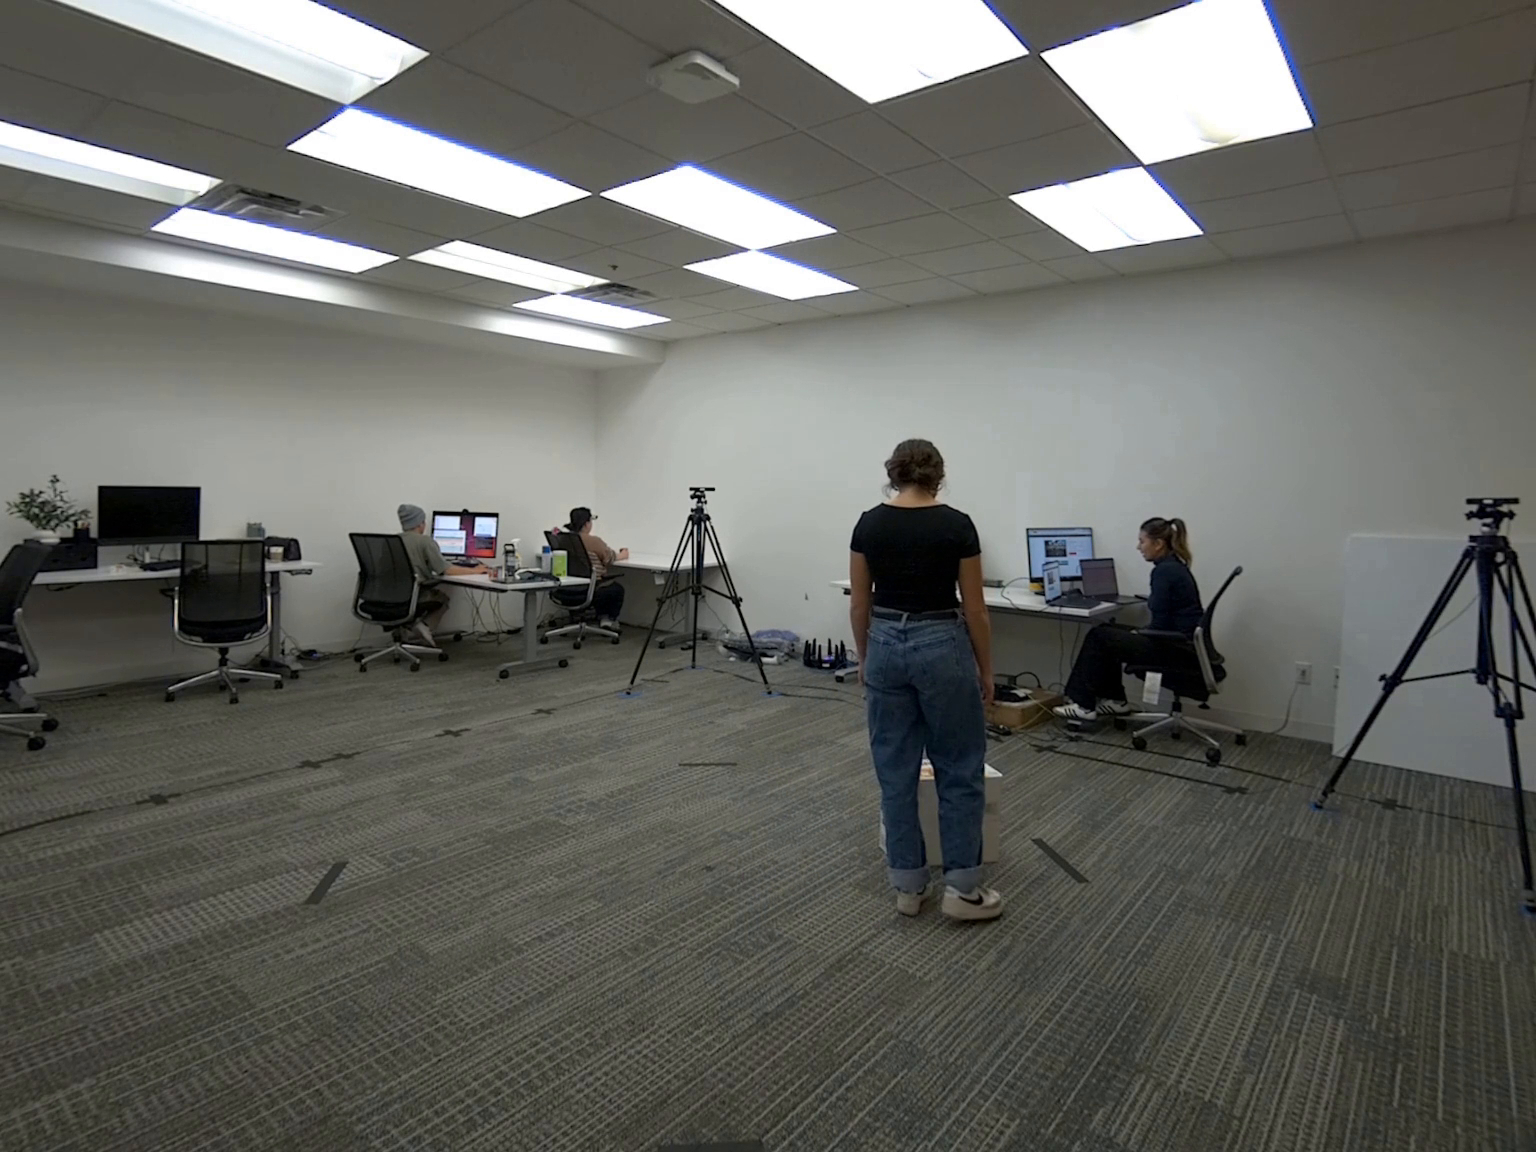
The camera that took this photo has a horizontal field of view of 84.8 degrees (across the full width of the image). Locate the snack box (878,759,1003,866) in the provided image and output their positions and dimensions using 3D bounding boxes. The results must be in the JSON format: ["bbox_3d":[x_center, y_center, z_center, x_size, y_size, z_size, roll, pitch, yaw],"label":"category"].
[{"bbox_3d":[0.655,0.898,3.263,0.400,0.339,0.209,0,5,-13],"label":"snack box"}]
